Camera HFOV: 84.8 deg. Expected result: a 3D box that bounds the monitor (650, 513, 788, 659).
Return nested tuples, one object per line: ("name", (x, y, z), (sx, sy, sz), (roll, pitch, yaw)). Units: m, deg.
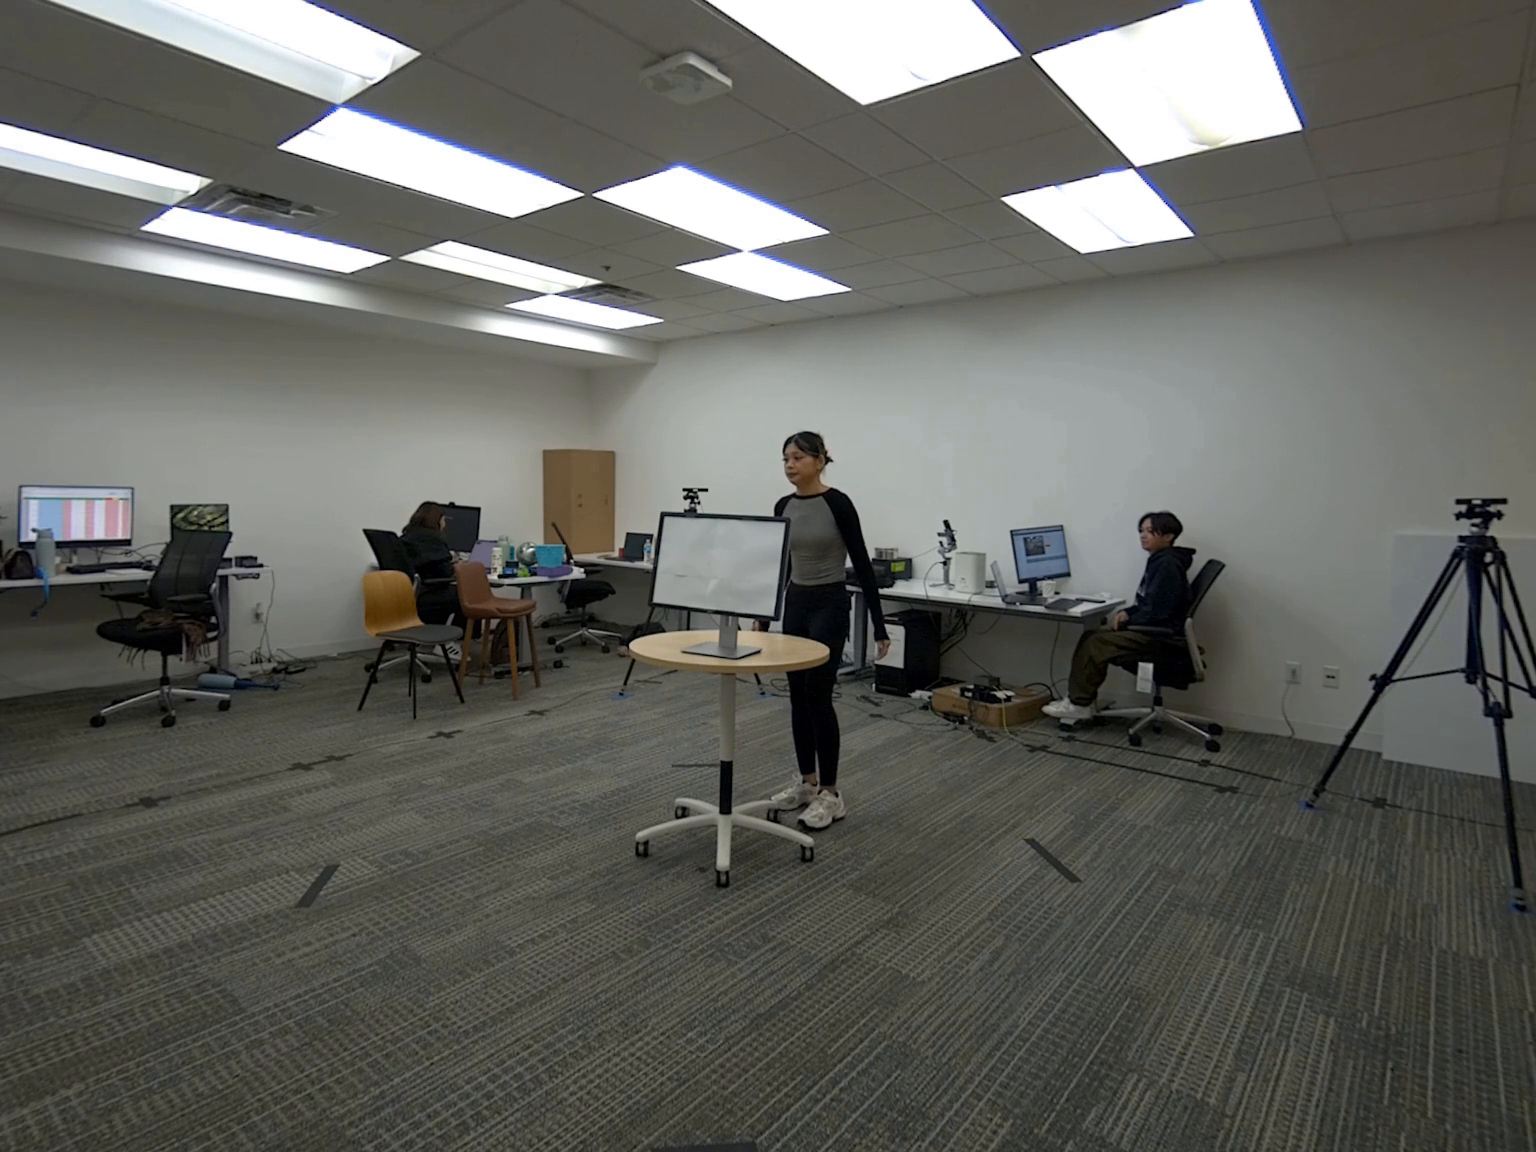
("monitor", (-0.174, 0.035, 3.119), (0.555, 0.520, 0.183), (4, 7, 30))
